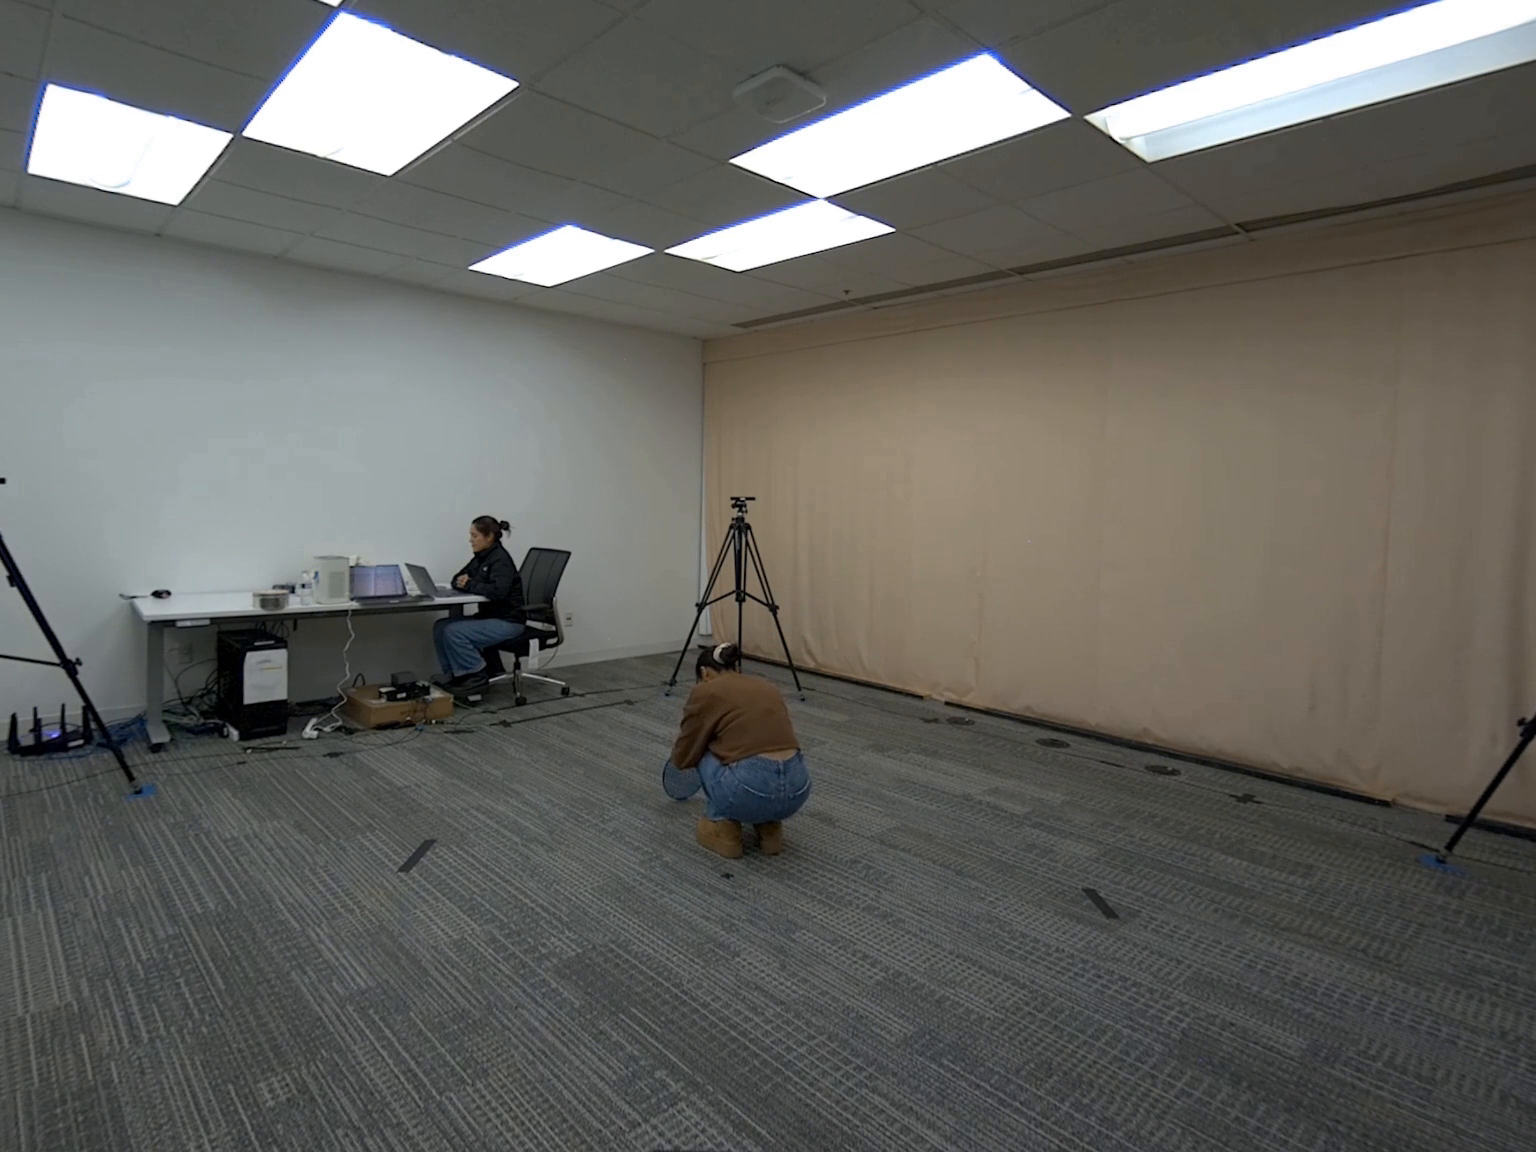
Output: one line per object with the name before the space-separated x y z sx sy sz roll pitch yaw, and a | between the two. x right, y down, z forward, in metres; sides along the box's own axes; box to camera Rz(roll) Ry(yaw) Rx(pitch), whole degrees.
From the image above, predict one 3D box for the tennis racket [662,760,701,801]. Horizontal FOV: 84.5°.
tennis racket | -0.385 0.827 3.830 0.210 0.429 0.032 -2 16 -23
